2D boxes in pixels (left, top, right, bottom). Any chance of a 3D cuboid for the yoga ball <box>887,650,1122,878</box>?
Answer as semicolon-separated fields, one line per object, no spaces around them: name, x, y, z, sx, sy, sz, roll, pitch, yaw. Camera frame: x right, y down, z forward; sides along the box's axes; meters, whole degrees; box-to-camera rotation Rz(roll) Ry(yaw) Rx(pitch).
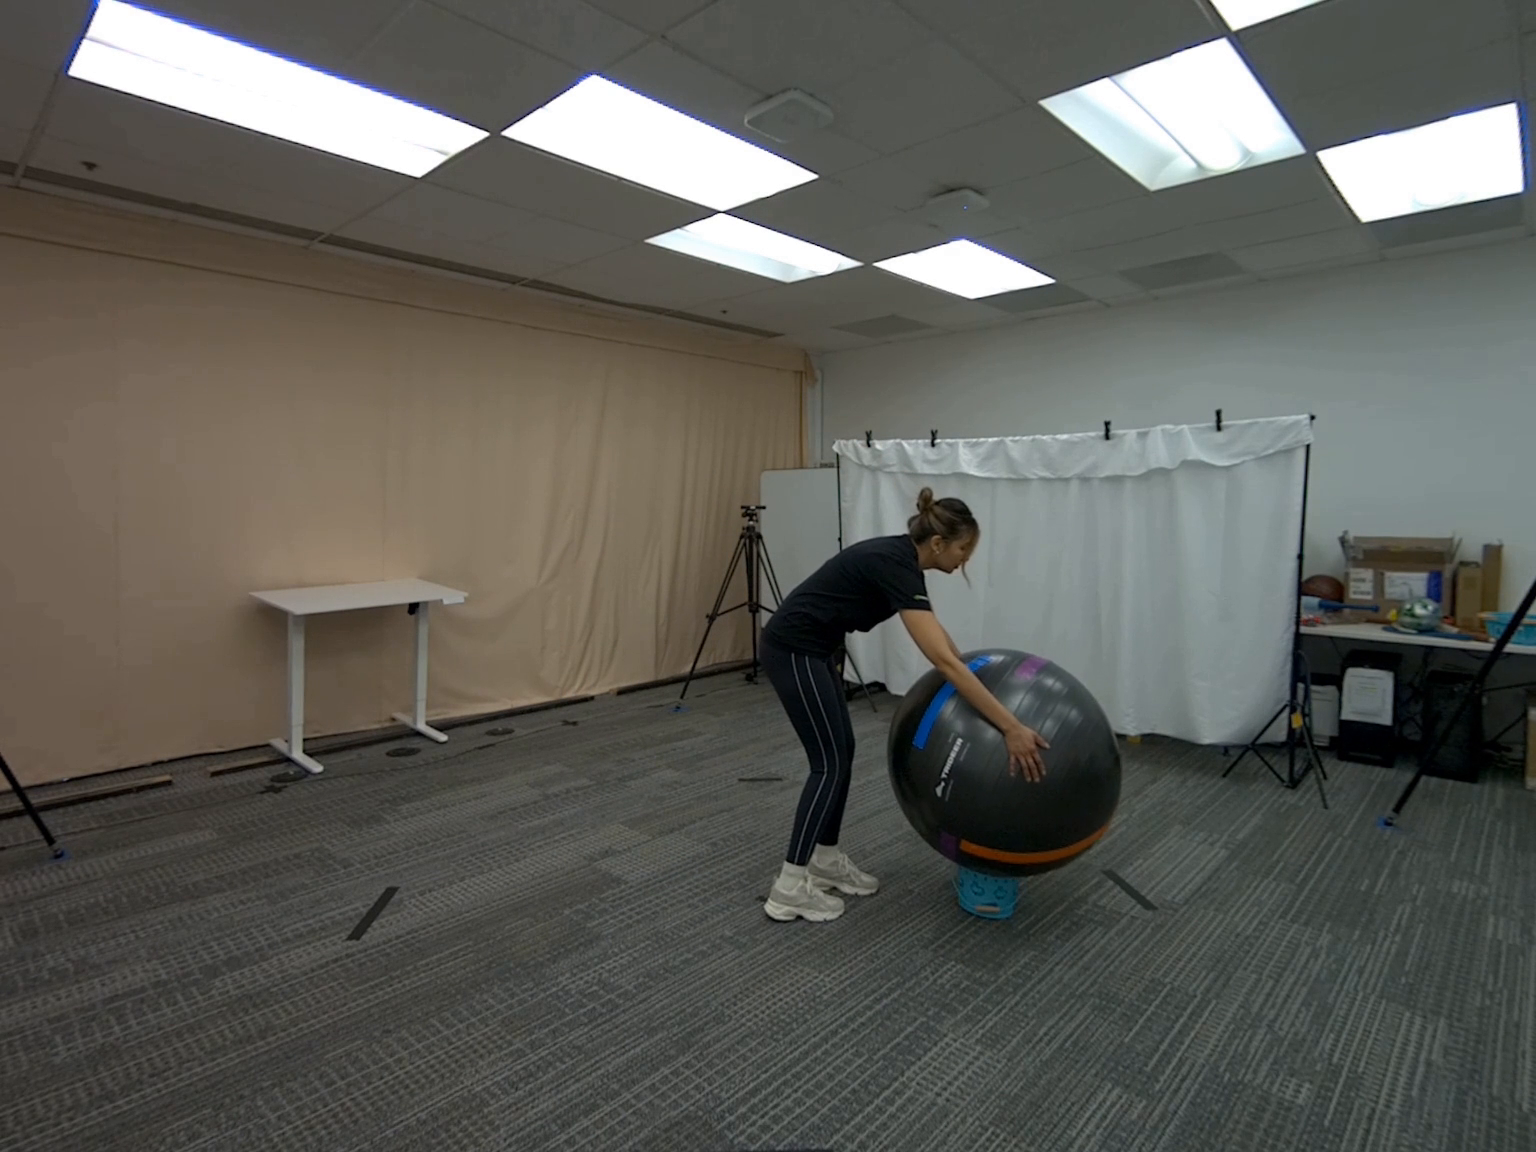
yoga ball;0.799;0.636;2.902;0.757;0.756;0.761;0;4;-2
